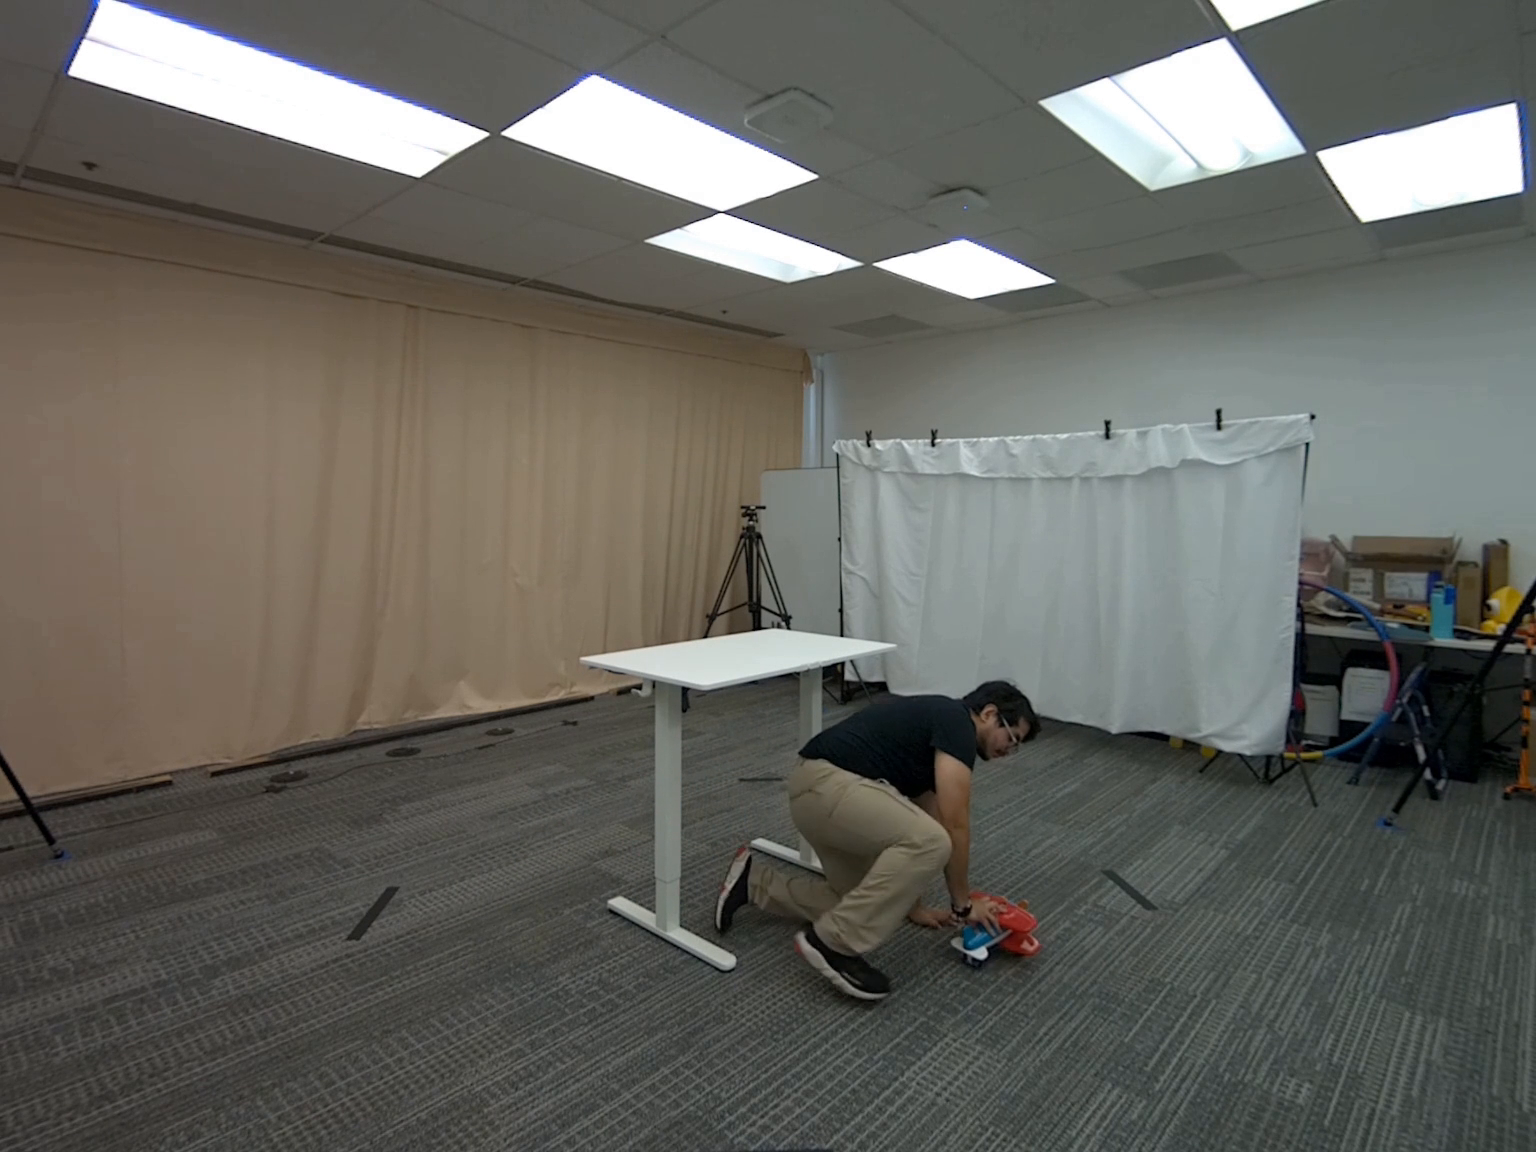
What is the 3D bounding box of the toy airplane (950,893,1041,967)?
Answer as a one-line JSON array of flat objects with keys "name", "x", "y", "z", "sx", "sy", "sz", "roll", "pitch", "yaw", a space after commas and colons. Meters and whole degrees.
[{"name": "toy airplane", "x": 0.709, "y": 1.102, "z": 2.578, "sx": 0.257, "sy": 0.156, "sz": 0.253, "roll": 2, "pitch": 3, "yaw": 25}]
